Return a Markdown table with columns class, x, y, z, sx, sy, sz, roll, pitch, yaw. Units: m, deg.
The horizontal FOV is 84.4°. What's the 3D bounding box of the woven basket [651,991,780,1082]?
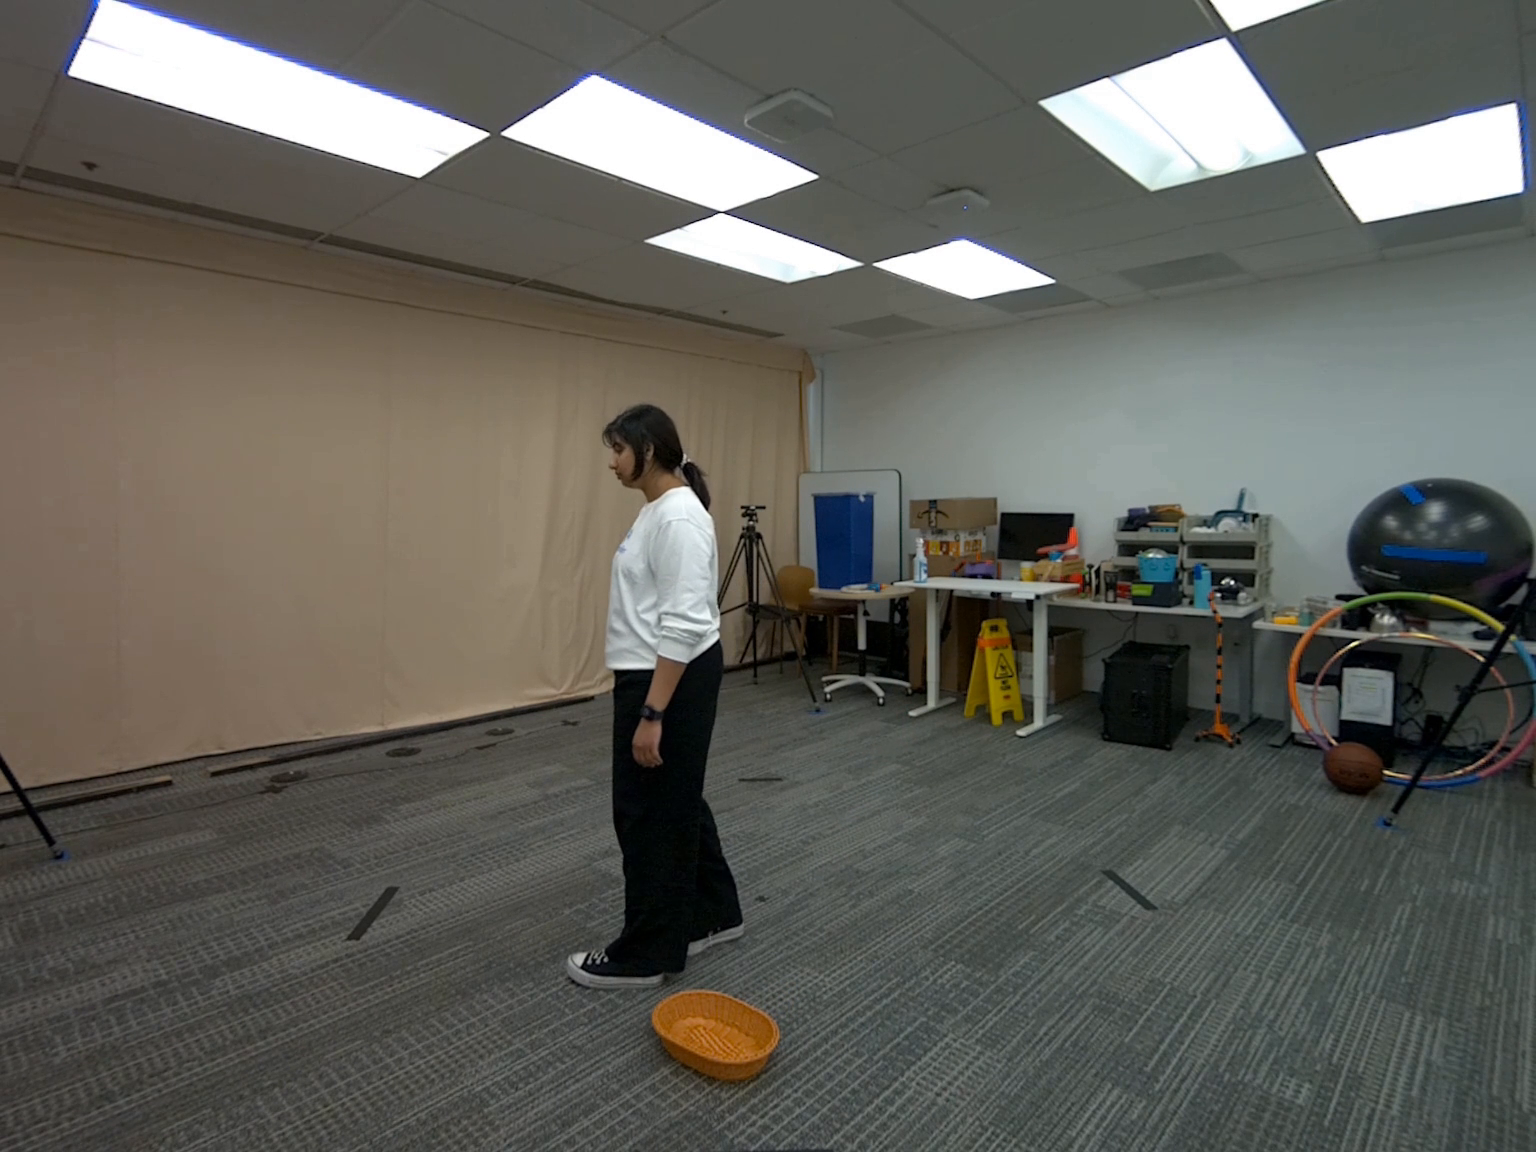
| class | x | y | z | sx | sy | sz | roll | pitch | yaw |
| --- | --- | --- | --- | --- | --- | --- | --- | --- | --- |
| woven basket | -0.125 | 1.174 | 2.157 | 0.362 | 0.073 | 0.244 | 5 | 5 | 42 |
